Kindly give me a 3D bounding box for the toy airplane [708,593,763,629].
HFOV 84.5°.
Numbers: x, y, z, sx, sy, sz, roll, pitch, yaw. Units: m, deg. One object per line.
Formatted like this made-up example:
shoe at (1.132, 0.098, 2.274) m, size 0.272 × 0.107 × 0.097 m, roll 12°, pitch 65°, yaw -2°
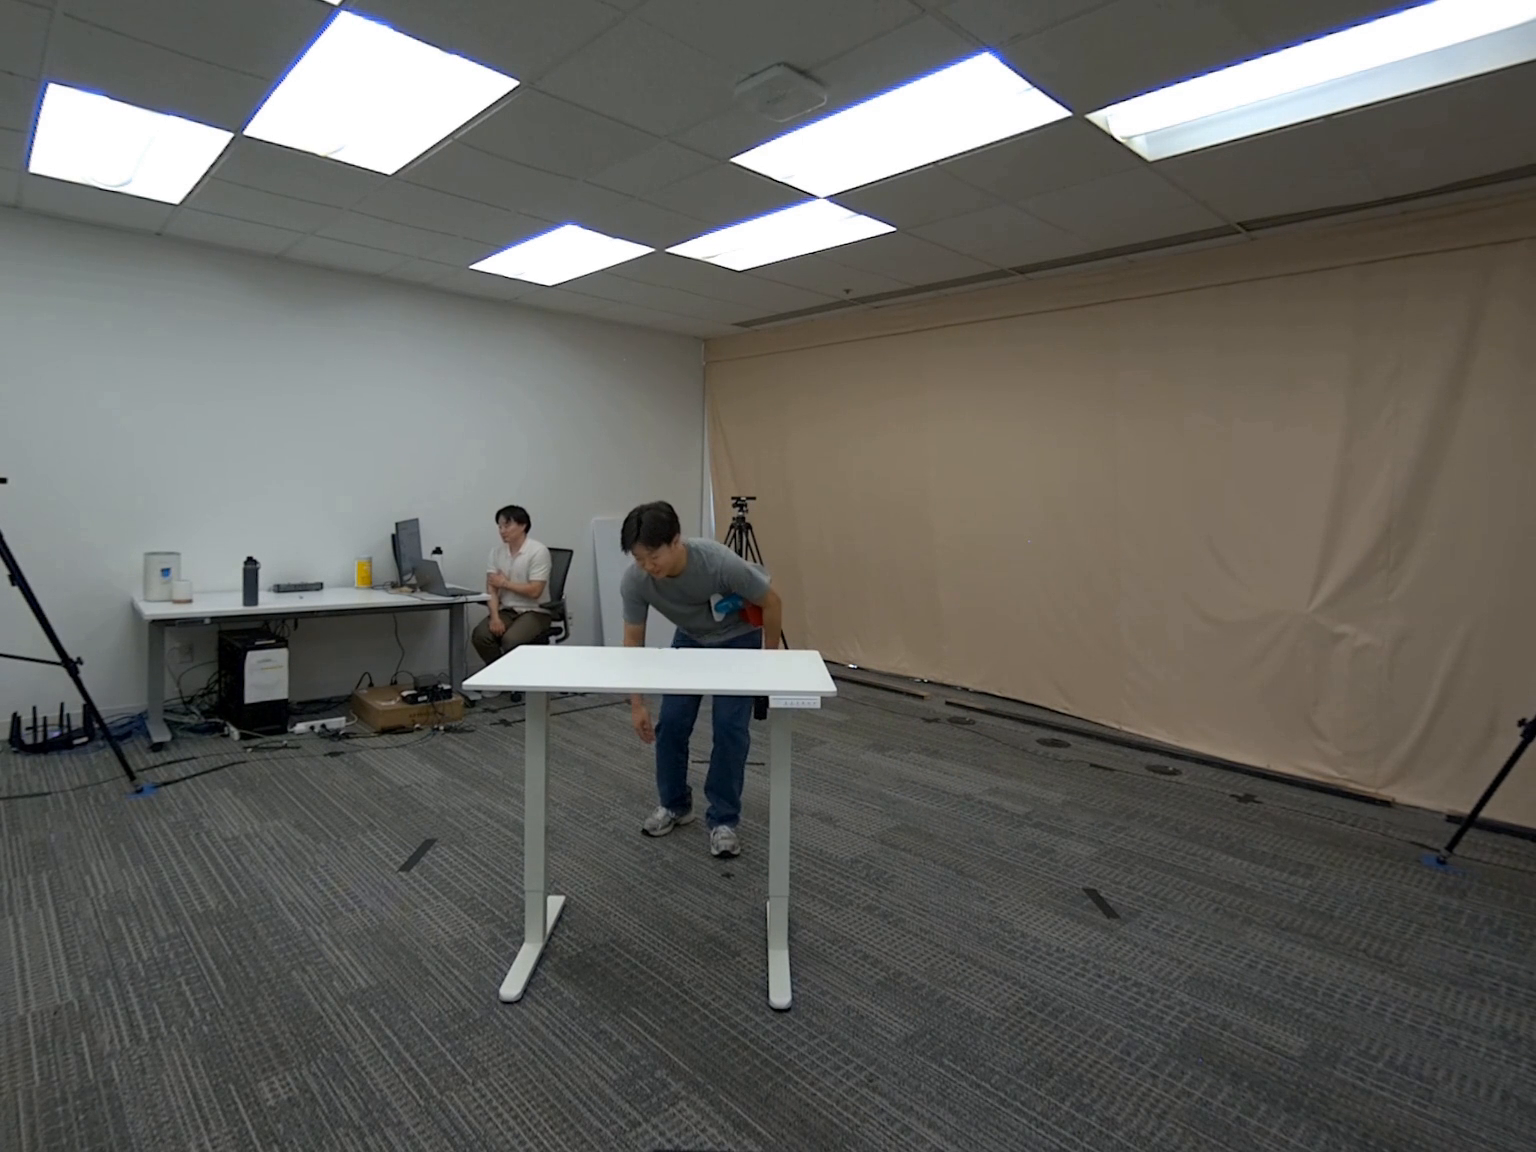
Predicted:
toy airplane at (-0.120, 0.105, 3.385) m, size 0.161 × 0.260 × 0.243 m, roll 11°, pitch -34°, yaw 44°
